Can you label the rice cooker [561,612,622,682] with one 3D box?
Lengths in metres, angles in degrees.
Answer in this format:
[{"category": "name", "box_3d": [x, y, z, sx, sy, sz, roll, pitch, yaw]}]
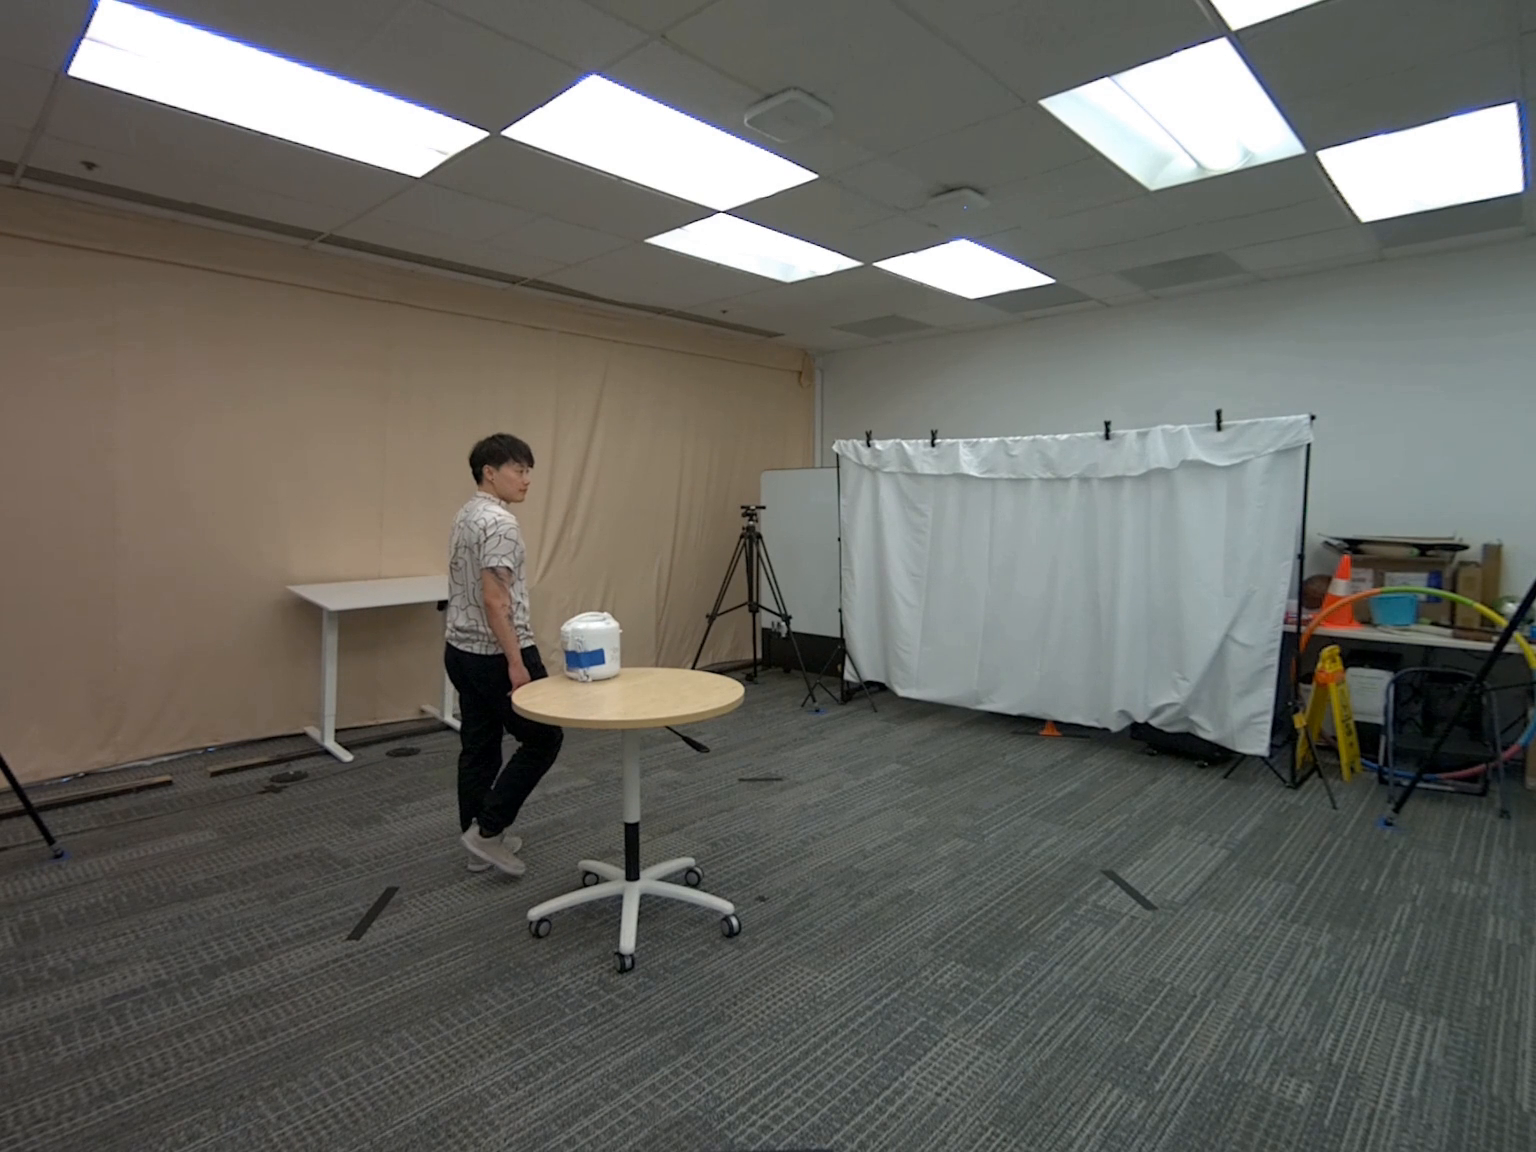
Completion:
[{"category": "rice cooker", "box_3d": [-0.638, 0.248, 3.022, 0.214, 0.232, 0.224, -1, 4, -37]}]
